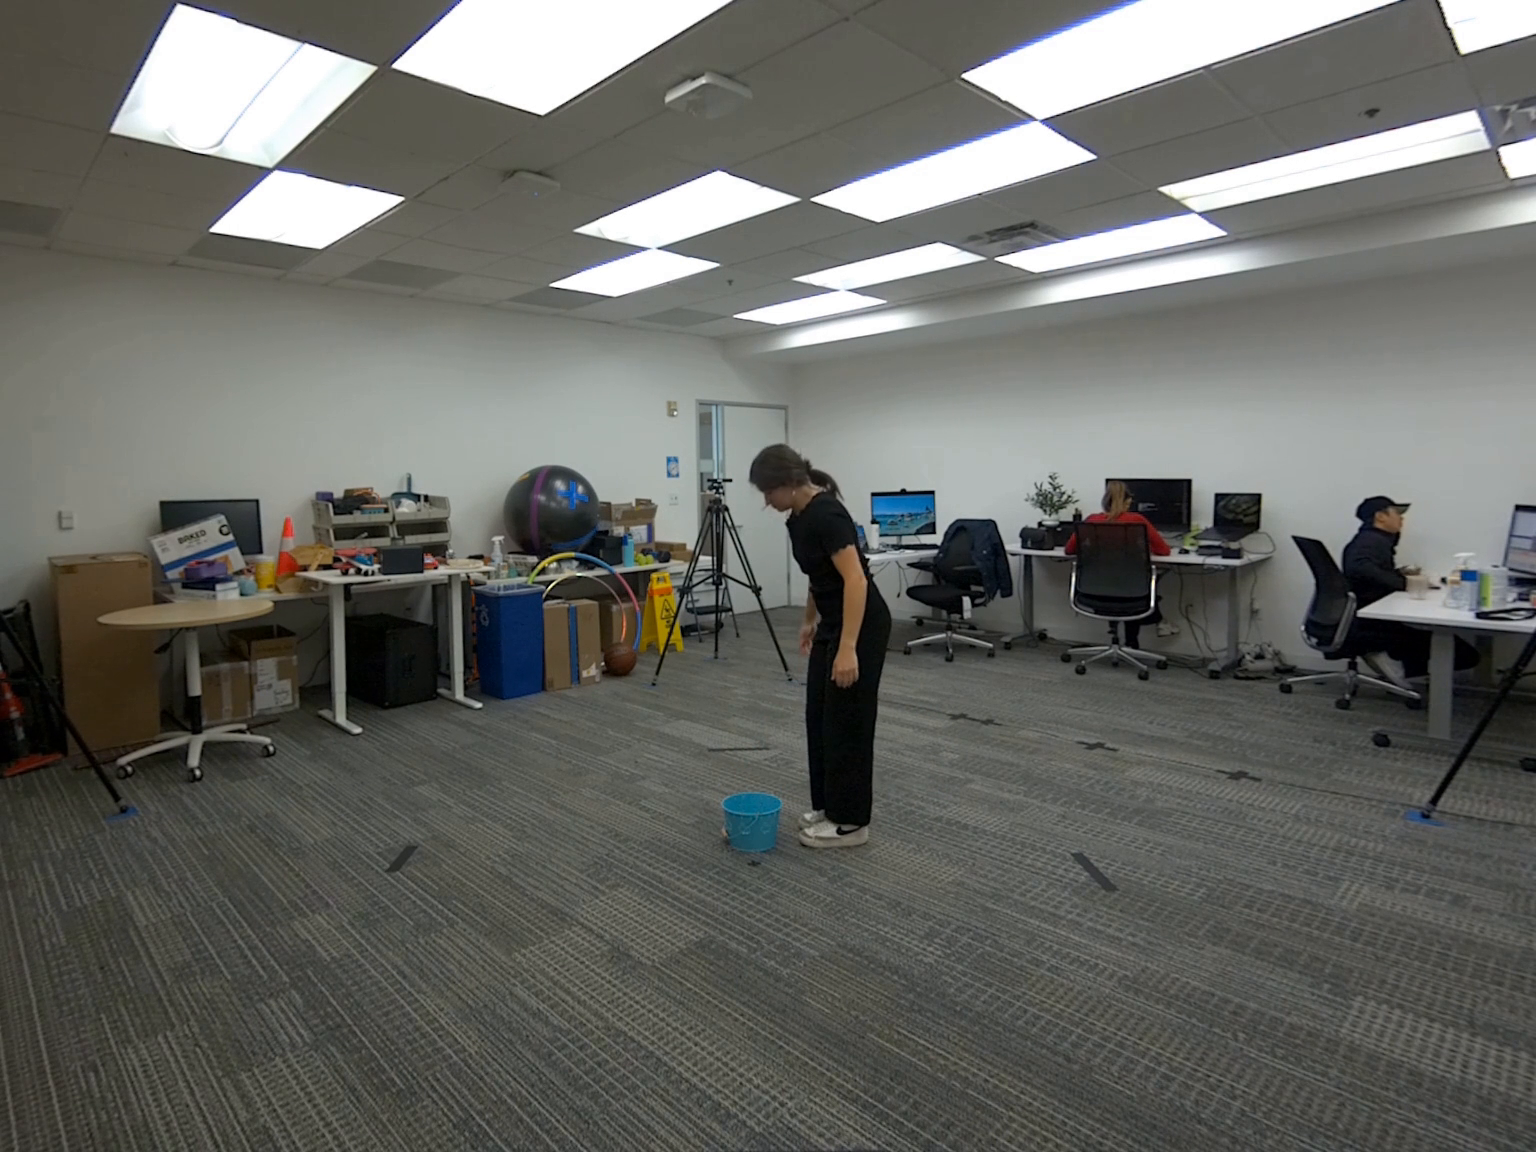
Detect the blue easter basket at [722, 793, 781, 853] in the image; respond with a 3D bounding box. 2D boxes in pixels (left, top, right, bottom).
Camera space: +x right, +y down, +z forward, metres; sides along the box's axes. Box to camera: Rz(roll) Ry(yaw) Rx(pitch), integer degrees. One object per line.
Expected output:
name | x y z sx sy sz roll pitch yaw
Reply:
blue easter basket | -0.062 0.943 3.292 0.243 0.155 0.245 -1 5 -2
